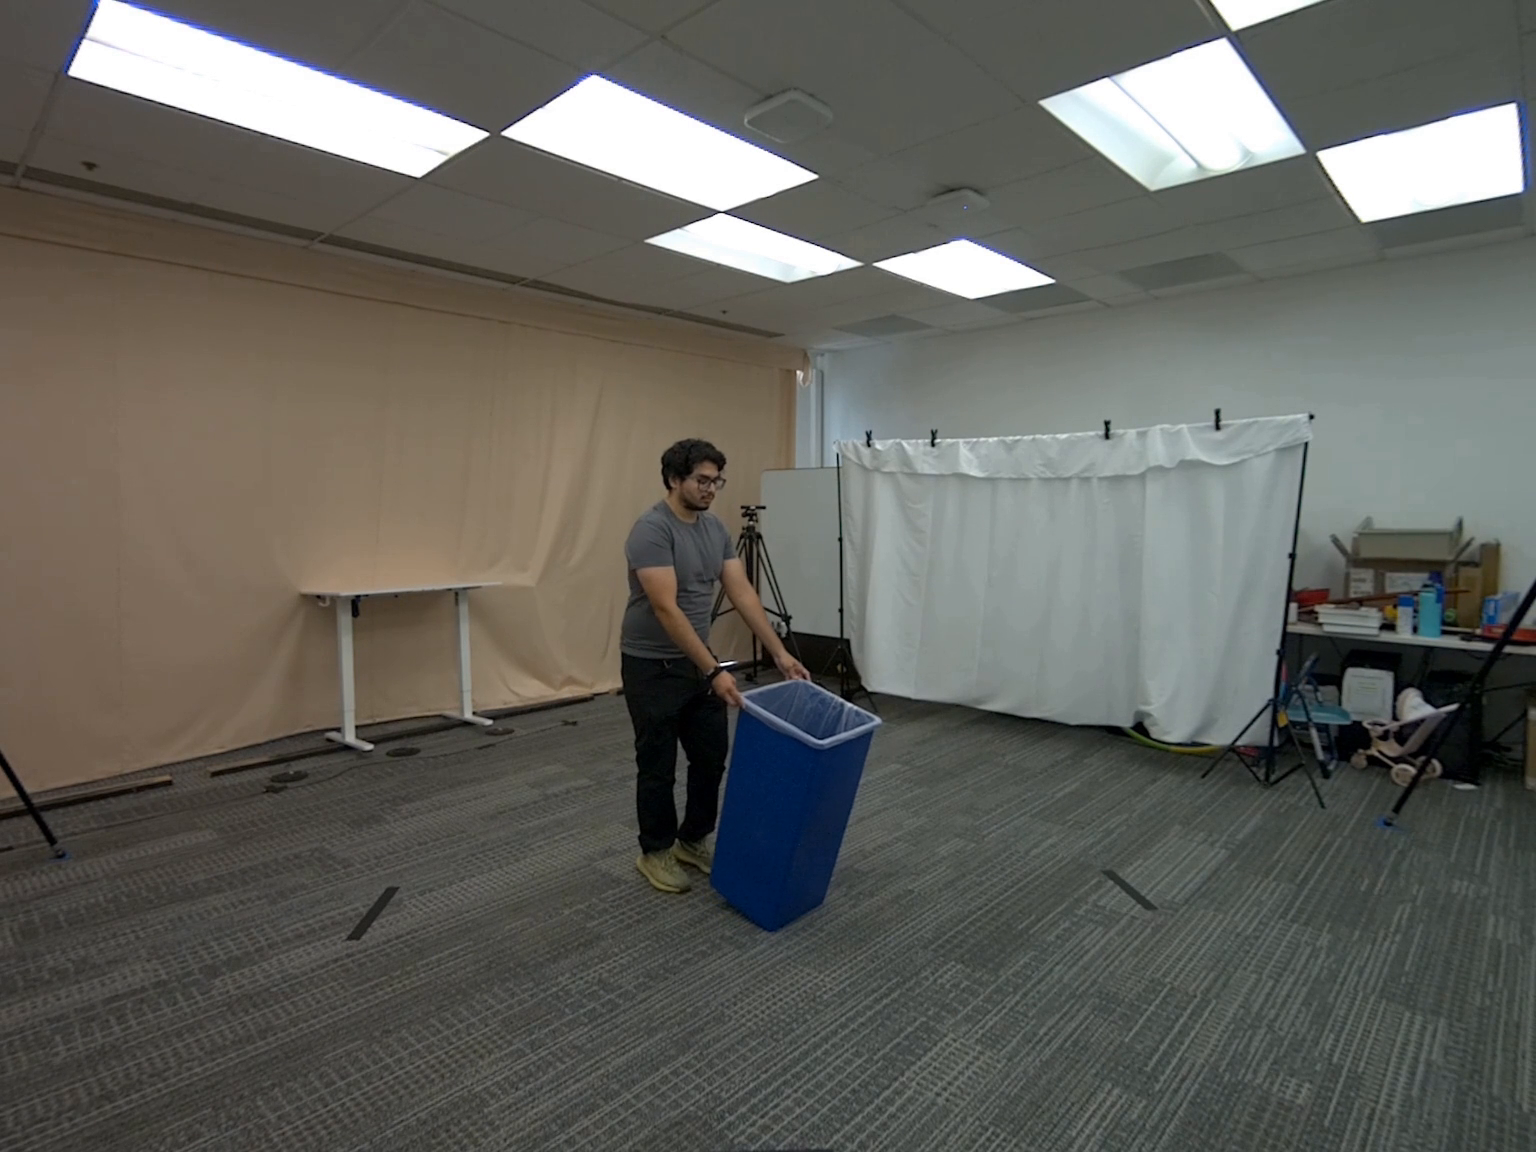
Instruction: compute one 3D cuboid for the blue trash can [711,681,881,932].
[{"bbox_3d":[0.063,0.770,2.861,0.387,0.709,0.367,22,17,37],"label":"blue trash can"}]
